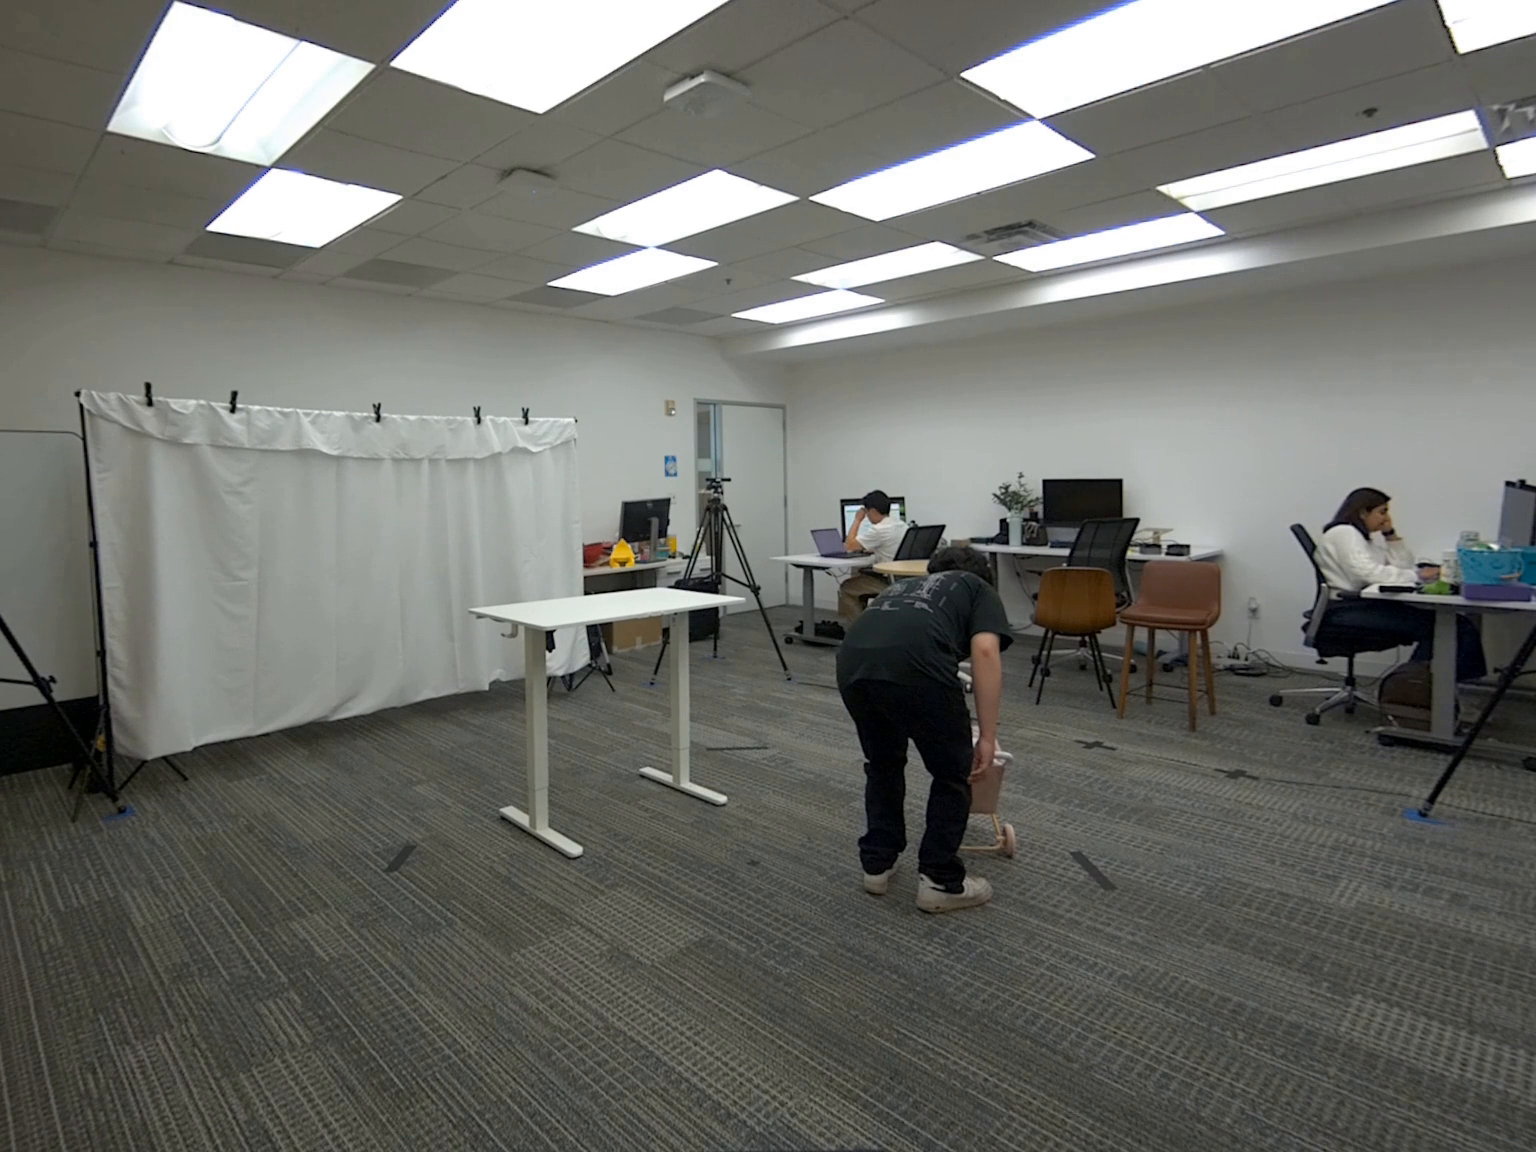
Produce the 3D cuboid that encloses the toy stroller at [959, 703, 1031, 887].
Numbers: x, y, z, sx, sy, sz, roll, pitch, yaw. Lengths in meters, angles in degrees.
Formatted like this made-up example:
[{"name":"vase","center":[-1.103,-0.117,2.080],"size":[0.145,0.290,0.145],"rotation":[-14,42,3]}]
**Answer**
[{"name":"toy stroller","center":[0.778,0.800,3.190],"size":[0.284,0.526,0.343],"rotation":[3,19,9]}]
